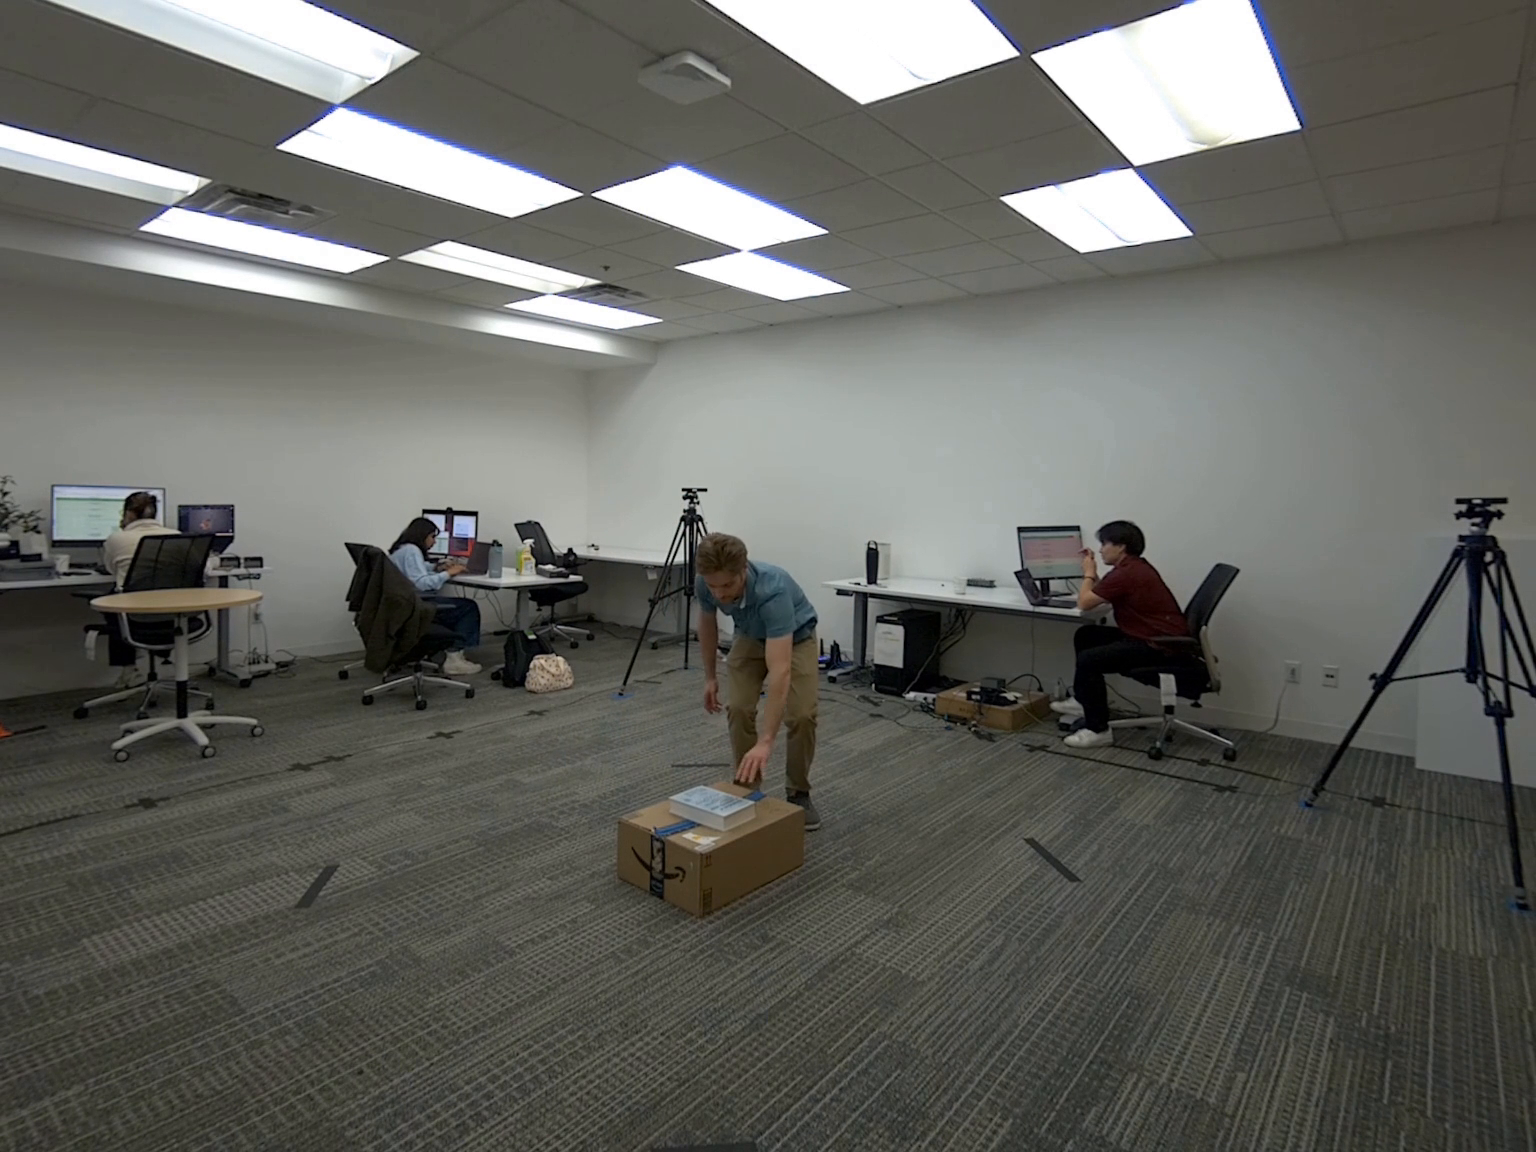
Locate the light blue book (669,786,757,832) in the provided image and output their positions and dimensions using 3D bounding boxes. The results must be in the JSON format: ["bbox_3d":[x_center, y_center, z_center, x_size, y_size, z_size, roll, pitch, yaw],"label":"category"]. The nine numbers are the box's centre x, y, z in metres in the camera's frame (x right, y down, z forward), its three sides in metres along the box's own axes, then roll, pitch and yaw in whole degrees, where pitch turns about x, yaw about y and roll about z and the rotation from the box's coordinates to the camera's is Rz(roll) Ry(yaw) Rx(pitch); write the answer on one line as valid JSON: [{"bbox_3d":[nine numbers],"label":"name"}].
[{"bbox_3d":[-0.210,0.829,3.076,0.270,0.059,0.186,5,7,38],"label":"light blue book"}]
